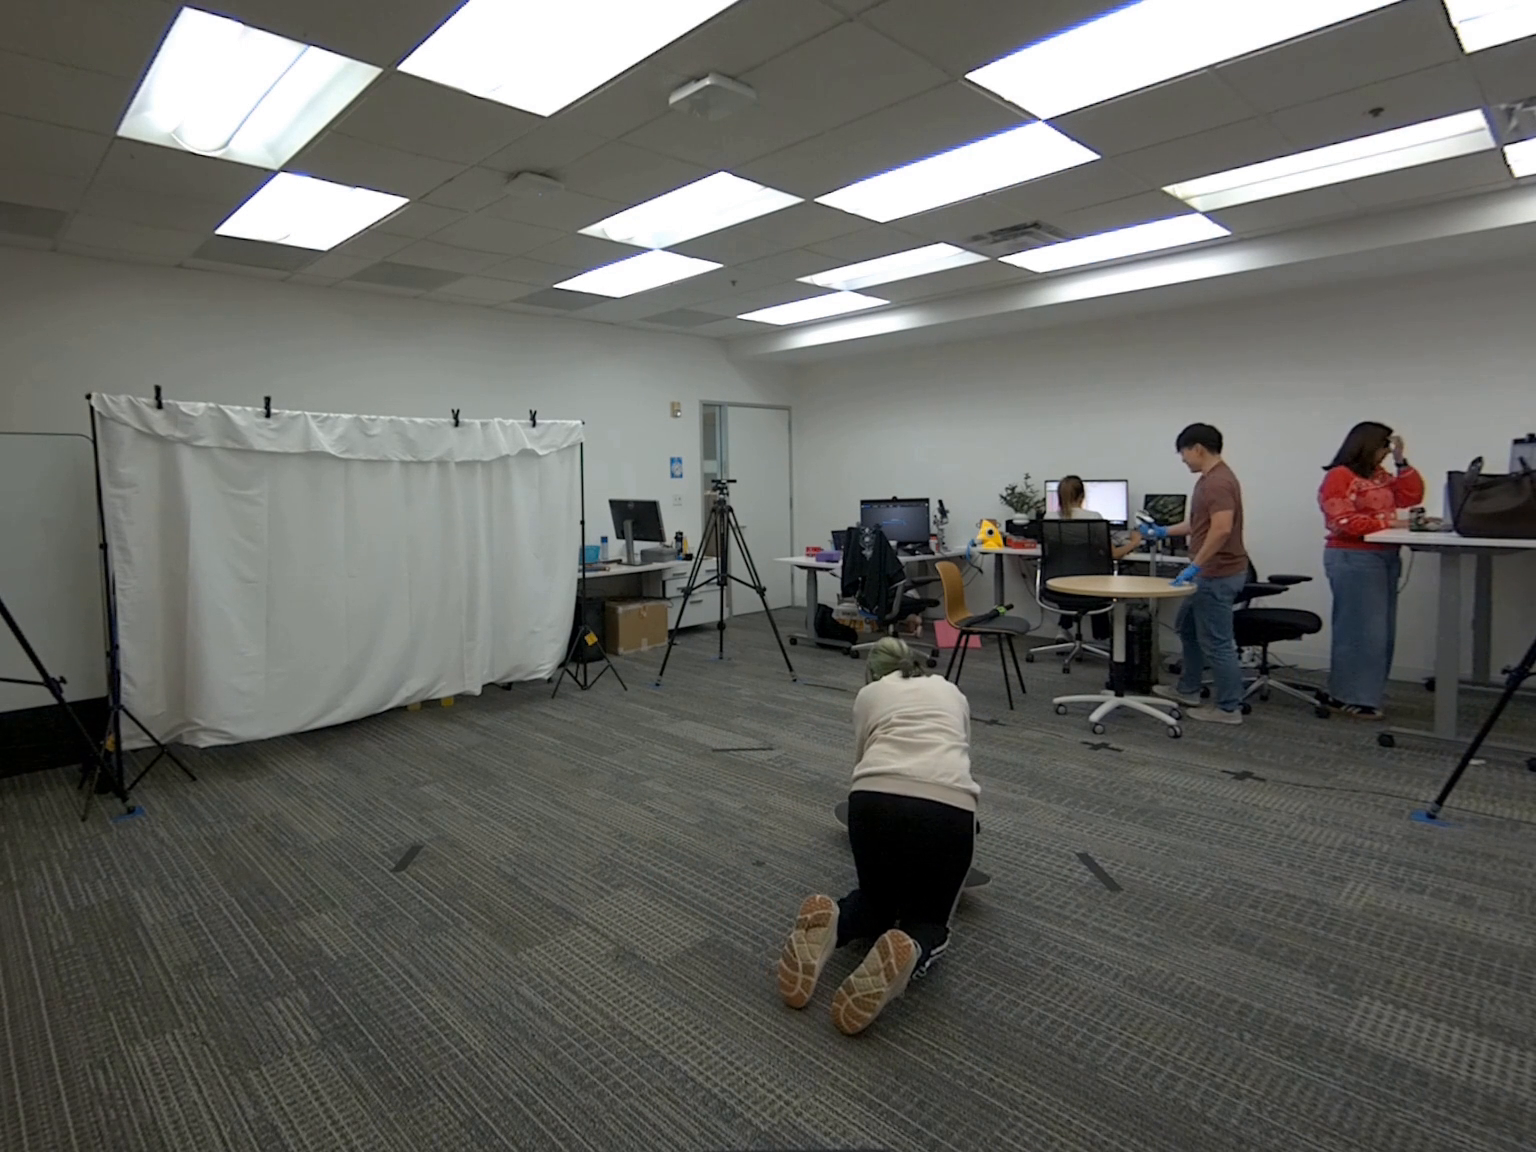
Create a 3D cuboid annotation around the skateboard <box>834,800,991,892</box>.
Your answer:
[{"bbox_3d":[0.493,0.993,3.042,0.189,0.110,0.805,-4,7,-25],"label":"skateboard"}]
